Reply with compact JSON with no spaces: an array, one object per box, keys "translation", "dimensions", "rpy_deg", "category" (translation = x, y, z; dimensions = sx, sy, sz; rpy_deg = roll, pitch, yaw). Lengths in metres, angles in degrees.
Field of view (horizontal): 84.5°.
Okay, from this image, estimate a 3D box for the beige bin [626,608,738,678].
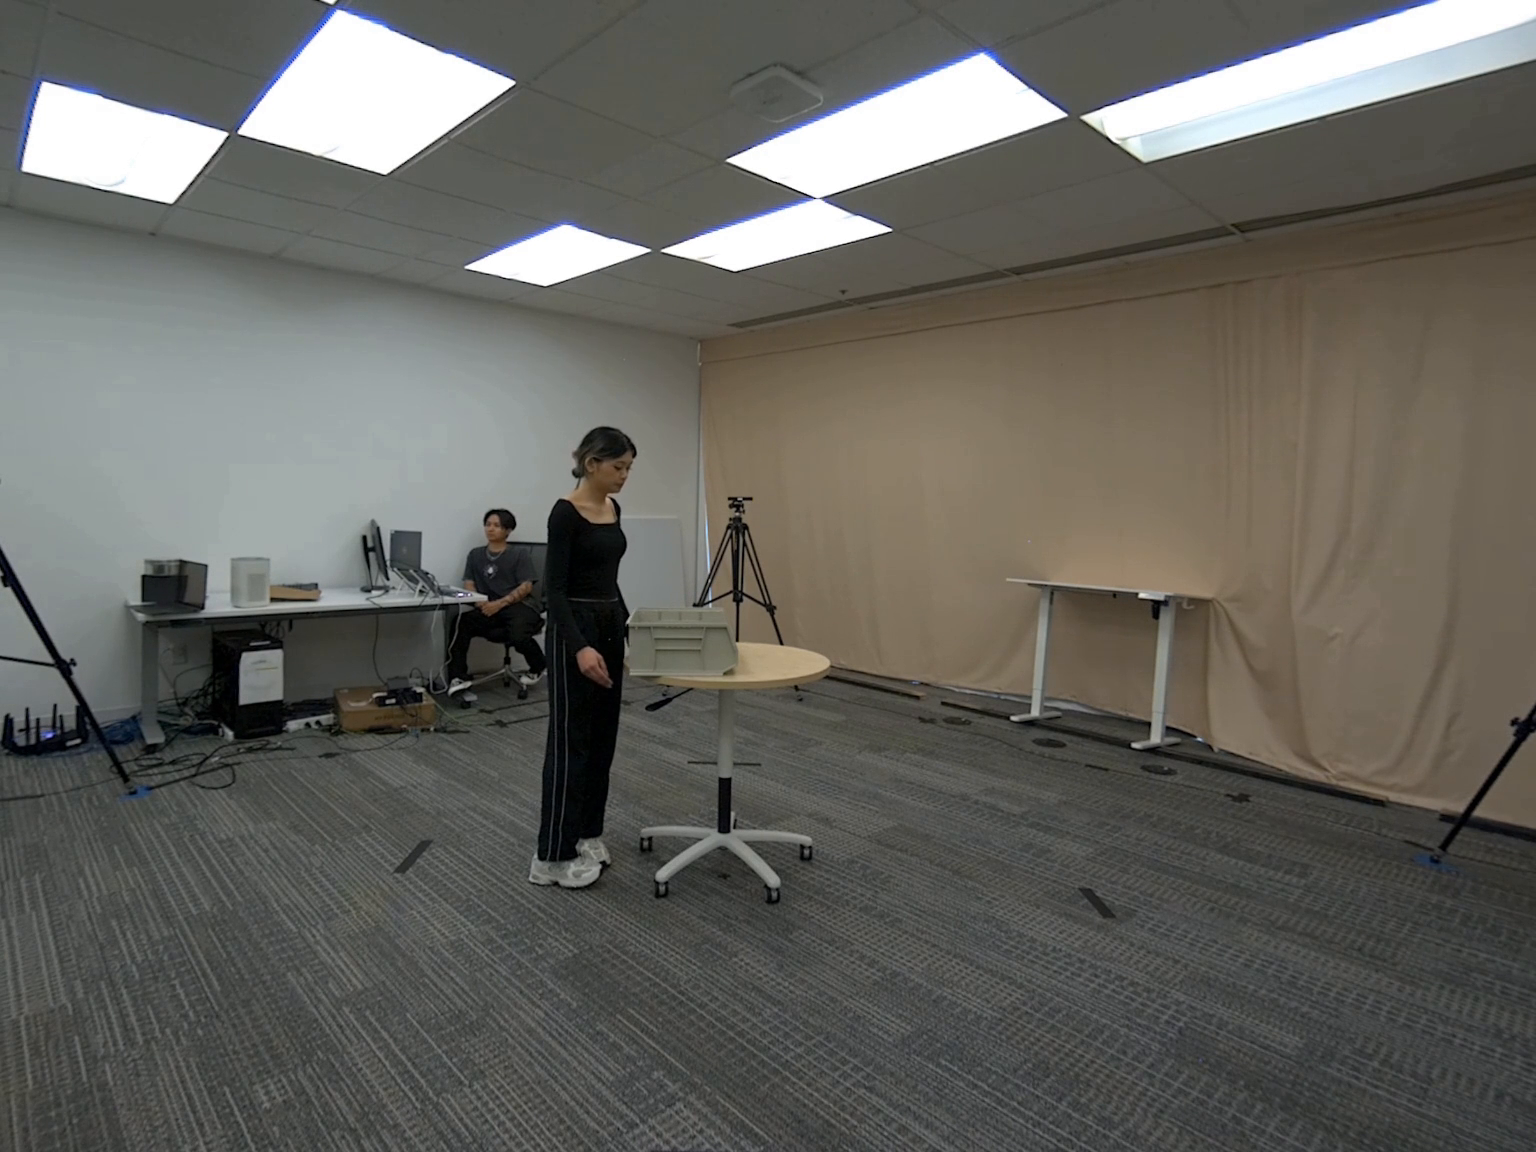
[{"translation":[-0.315,0.229,3.021],"dimensions":[0.376,0.188,0.425],"rpy_deg":[0,5,-5],"category":"beige bin"}]
